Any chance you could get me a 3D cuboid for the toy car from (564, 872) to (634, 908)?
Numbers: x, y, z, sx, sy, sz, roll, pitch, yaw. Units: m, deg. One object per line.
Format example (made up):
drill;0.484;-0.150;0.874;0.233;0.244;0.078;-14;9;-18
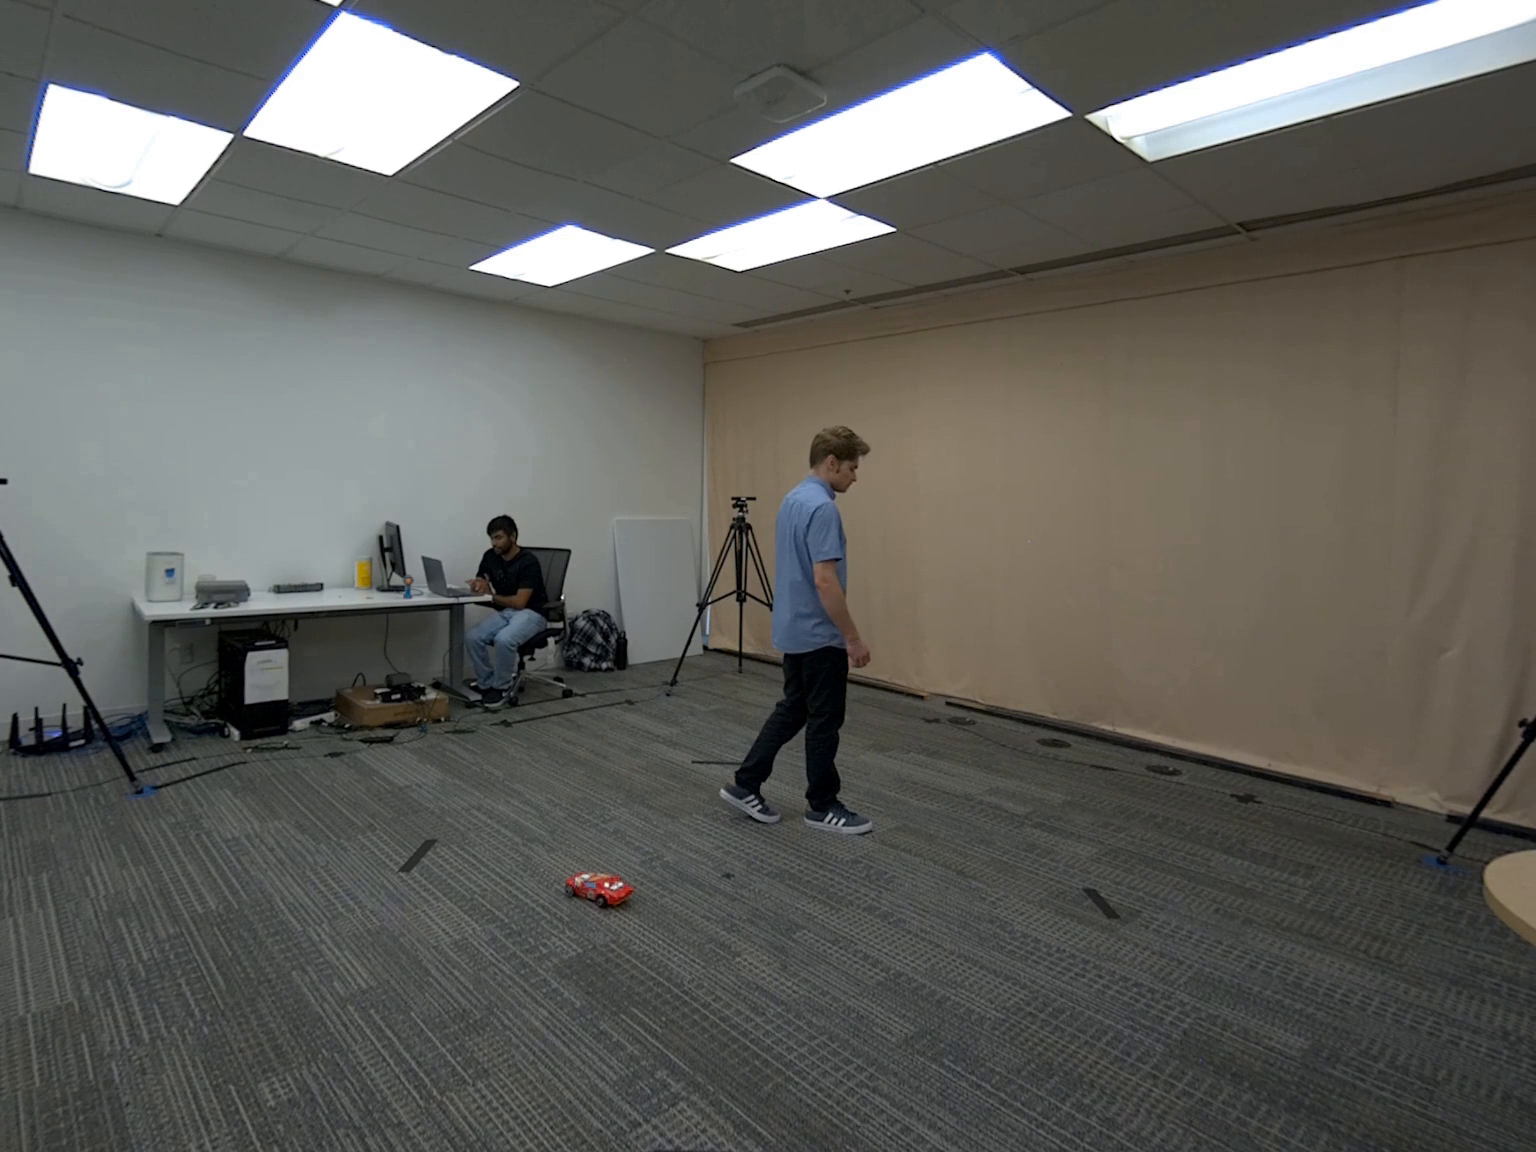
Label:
toy car;-0.585;1.083;2.905;0.259;0.083;0.128;-9;-2;33
